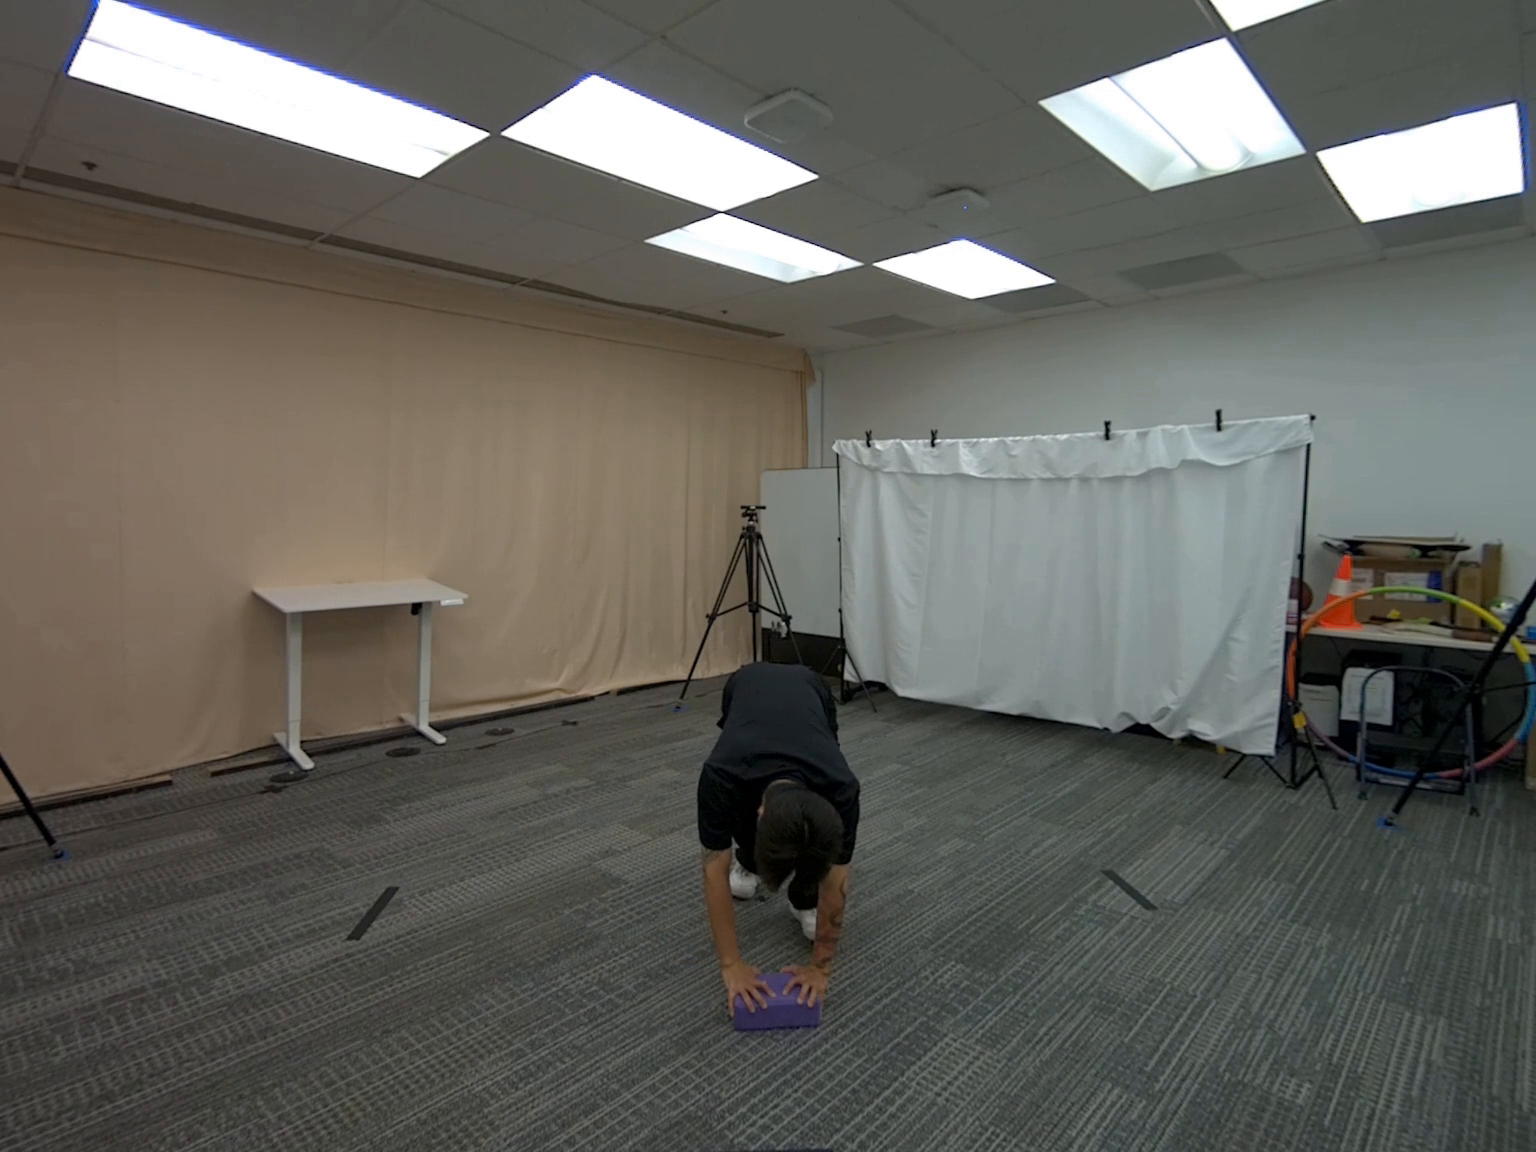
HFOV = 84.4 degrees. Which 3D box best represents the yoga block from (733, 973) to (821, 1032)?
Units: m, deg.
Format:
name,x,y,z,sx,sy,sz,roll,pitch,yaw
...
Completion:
name,x,y,z,sx,sy,sz,roll,pitch,yaw
yoga block,0.005,1.161,2.304,0.228,0.076,0.150,2,5,-7
